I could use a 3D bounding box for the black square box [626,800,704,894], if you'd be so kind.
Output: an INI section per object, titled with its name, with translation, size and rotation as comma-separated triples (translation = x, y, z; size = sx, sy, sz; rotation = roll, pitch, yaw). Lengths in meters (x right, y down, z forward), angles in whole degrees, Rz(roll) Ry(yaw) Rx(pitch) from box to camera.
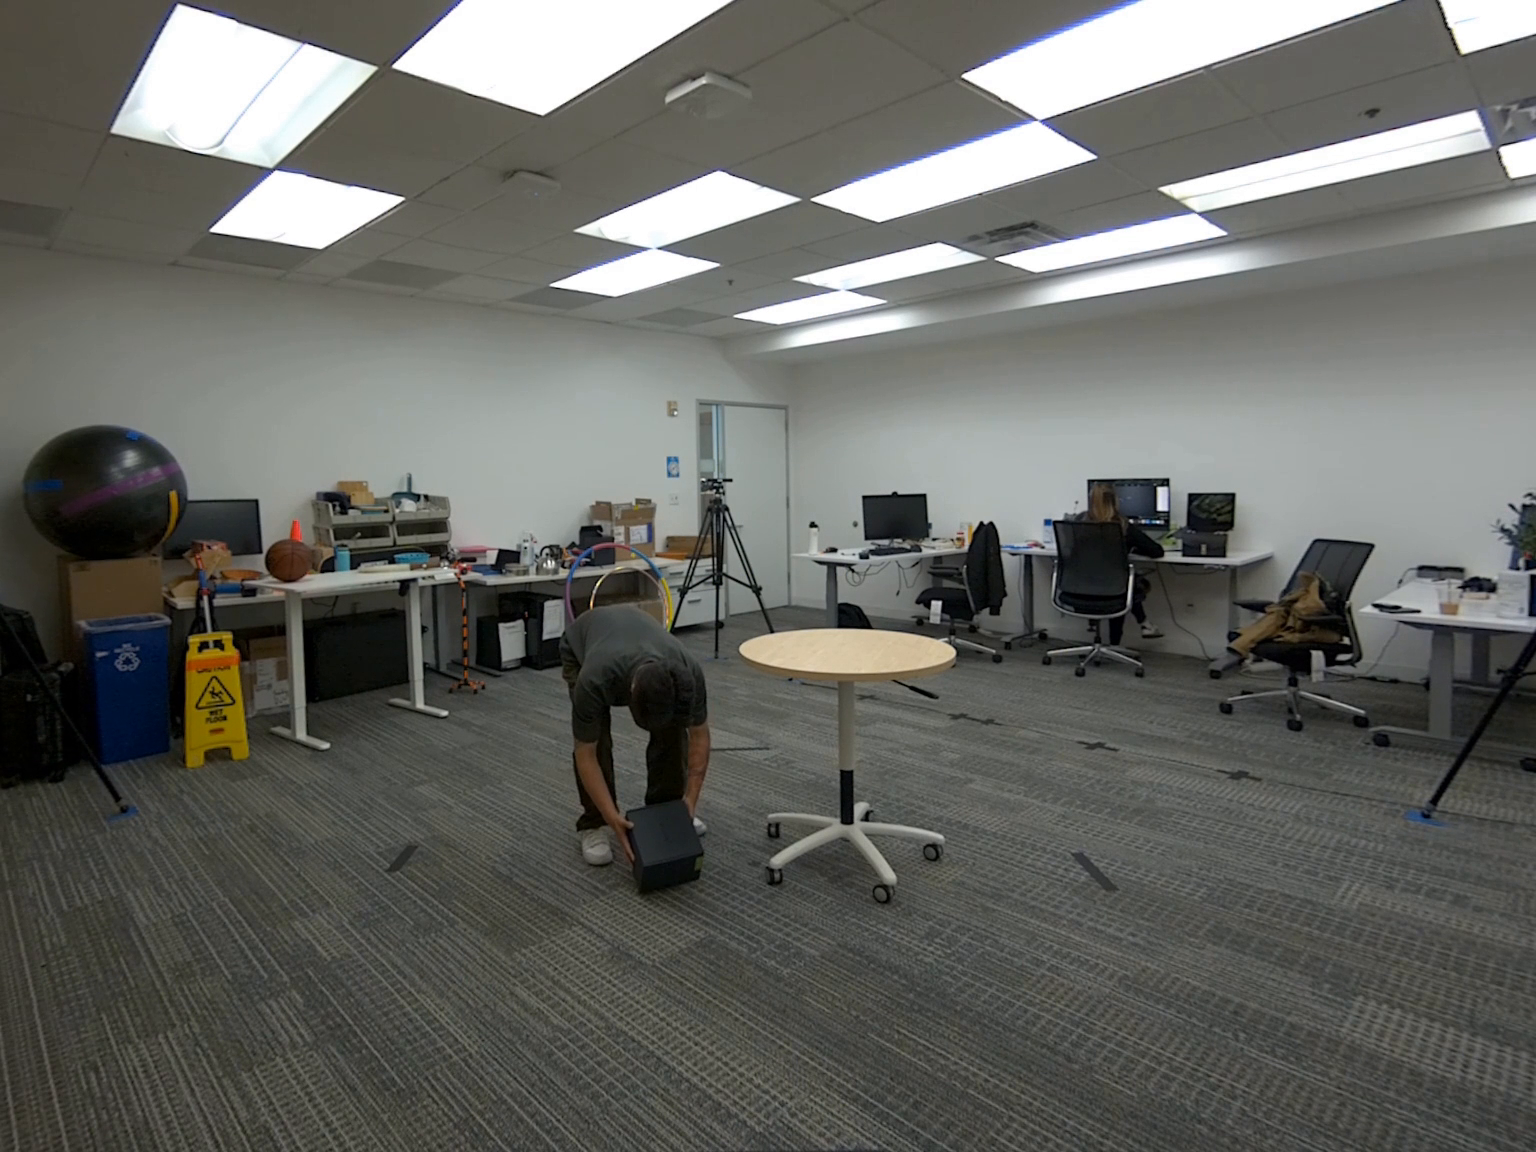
[black square box]
translation = -0.356, 0.936, 2.941
size = 0.213, 0.153, 0.237
rotation = -7, 37, -23
